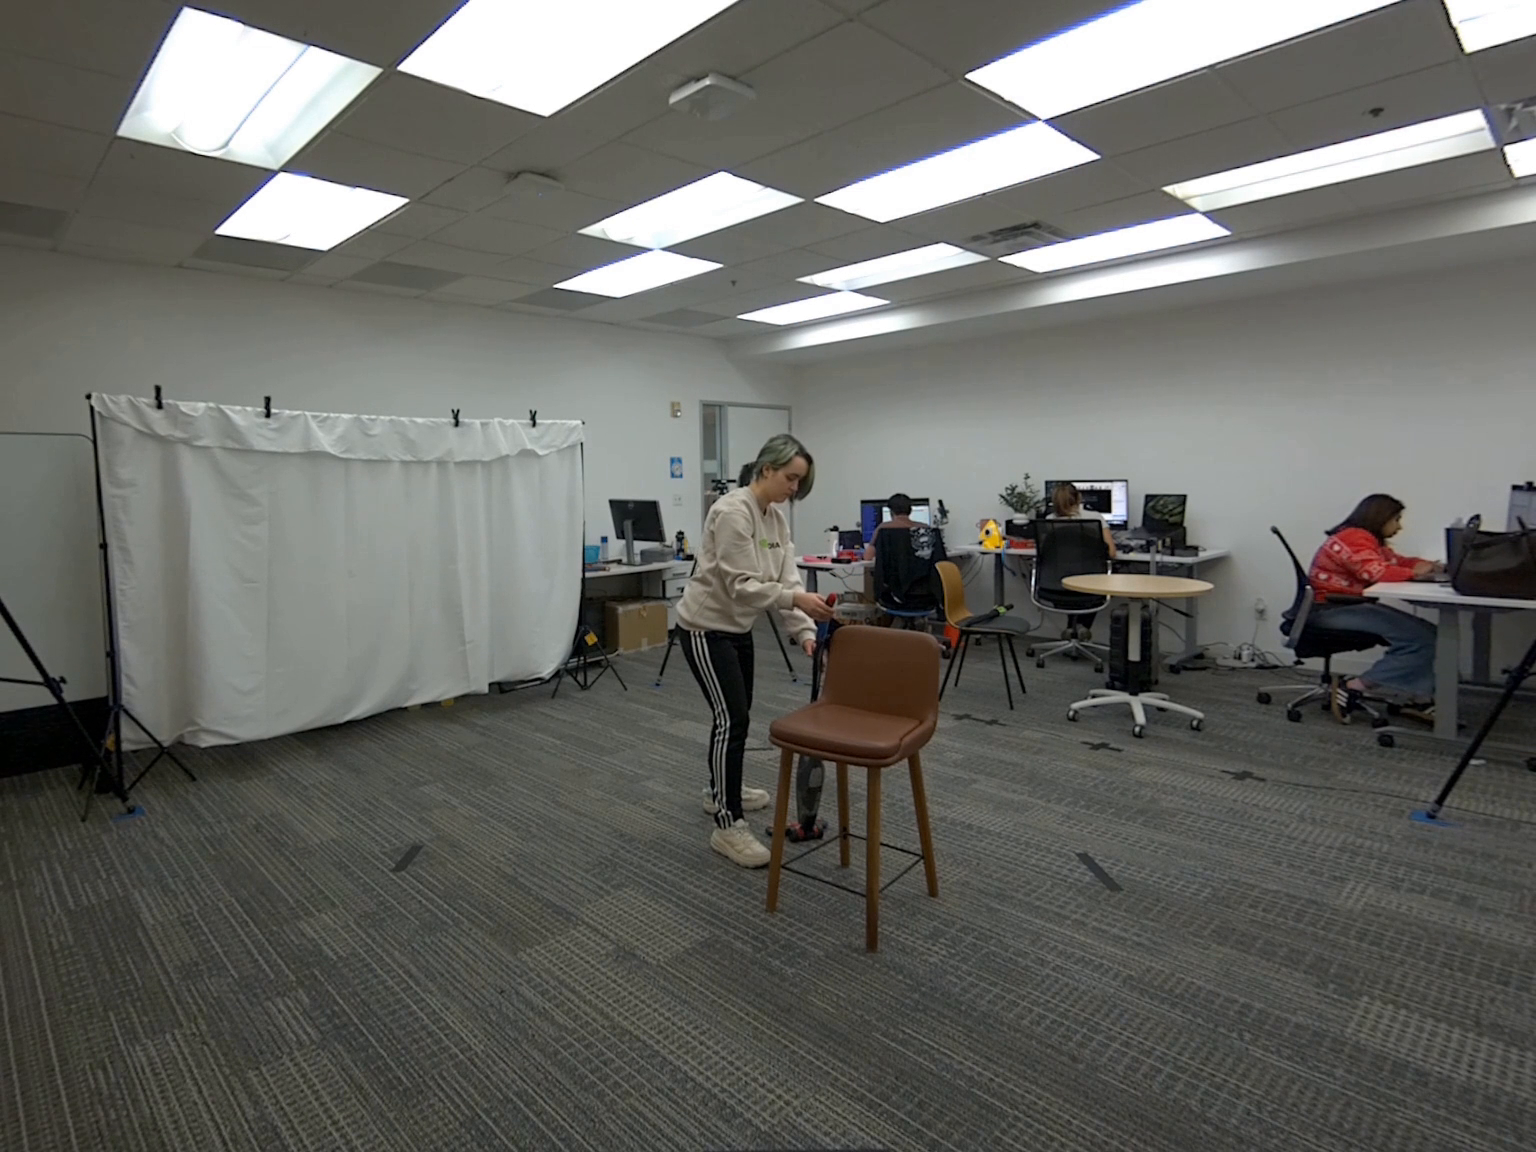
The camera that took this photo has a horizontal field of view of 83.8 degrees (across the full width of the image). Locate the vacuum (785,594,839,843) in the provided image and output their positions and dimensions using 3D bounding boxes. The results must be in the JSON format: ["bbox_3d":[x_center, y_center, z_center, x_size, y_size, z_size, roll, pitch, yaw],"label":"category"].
[{"bbox_3d":[0.178,0.546,3.167,0.248,1.031,0.149,-5,25,-24],"label":"vacuum"}]
